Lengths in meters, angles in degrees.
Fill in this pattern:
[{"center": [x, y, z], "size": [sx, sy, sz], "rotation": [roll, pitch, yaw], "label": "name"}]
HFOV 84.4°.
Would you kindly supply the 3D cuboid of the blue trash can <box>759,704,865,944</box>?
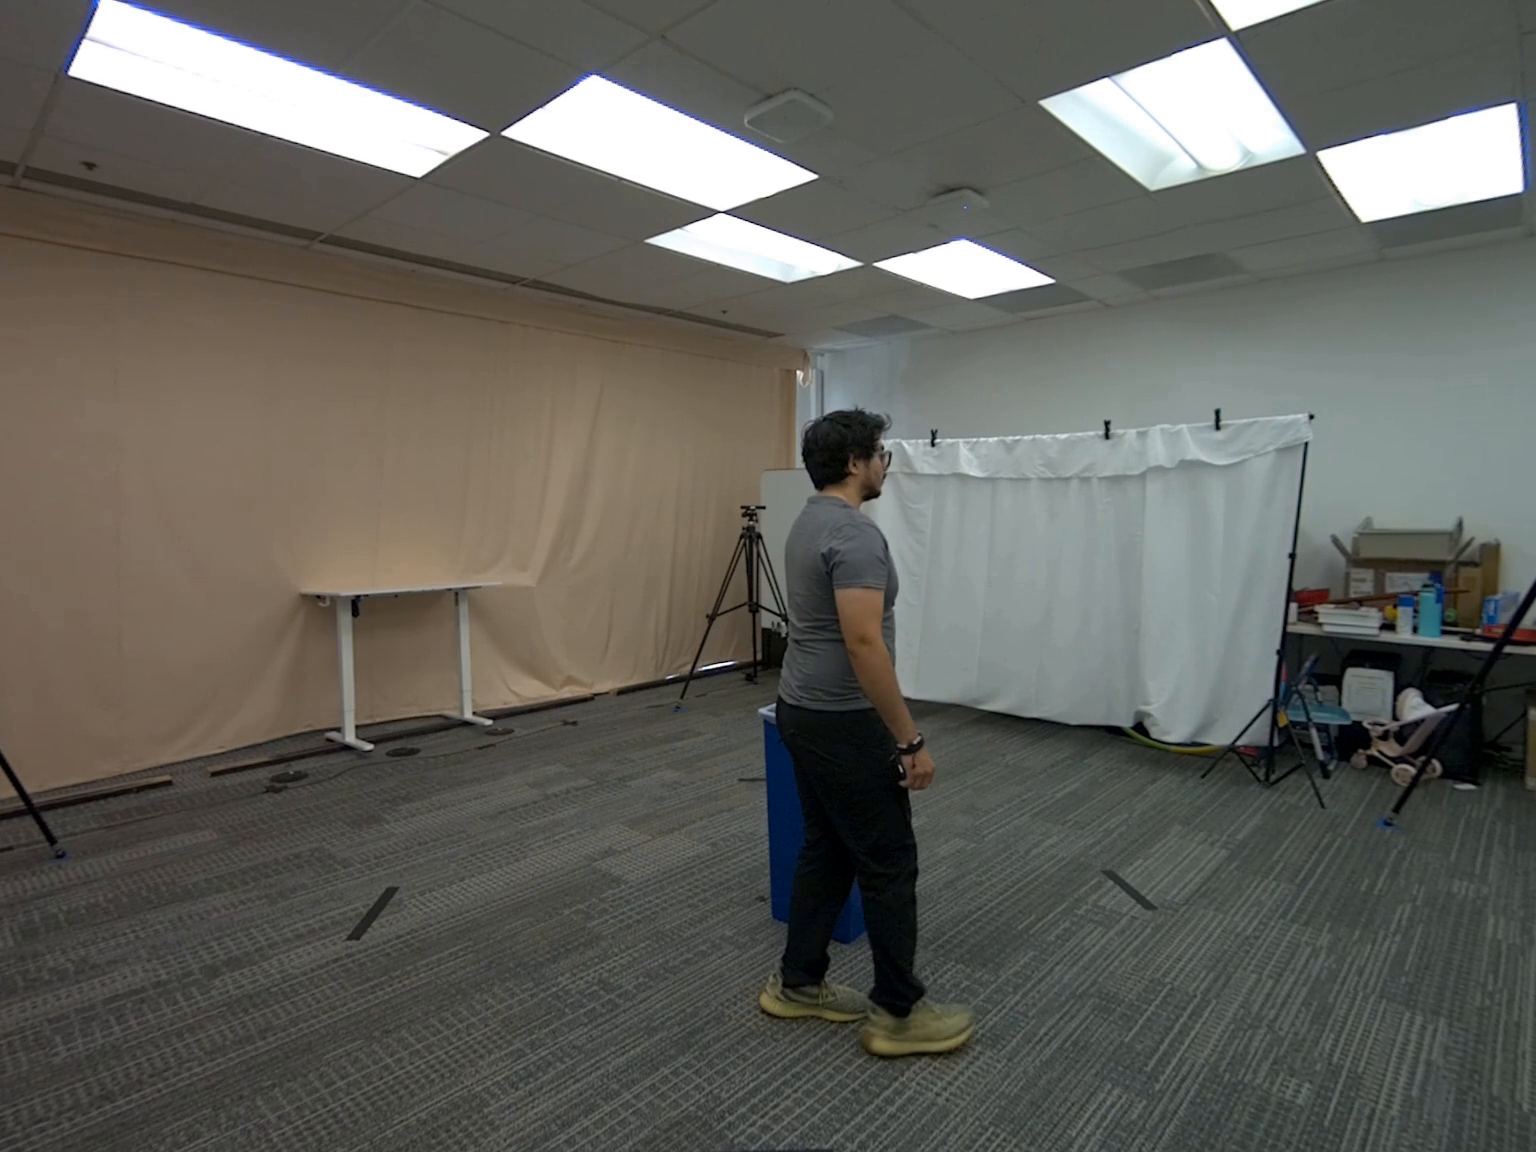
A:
[{"center": [0.213, 0.796, 2.845], "size": [0.390, 0.712, 0.363], "rotation": [2, 4, 36], "label": "blue trash can"}]
